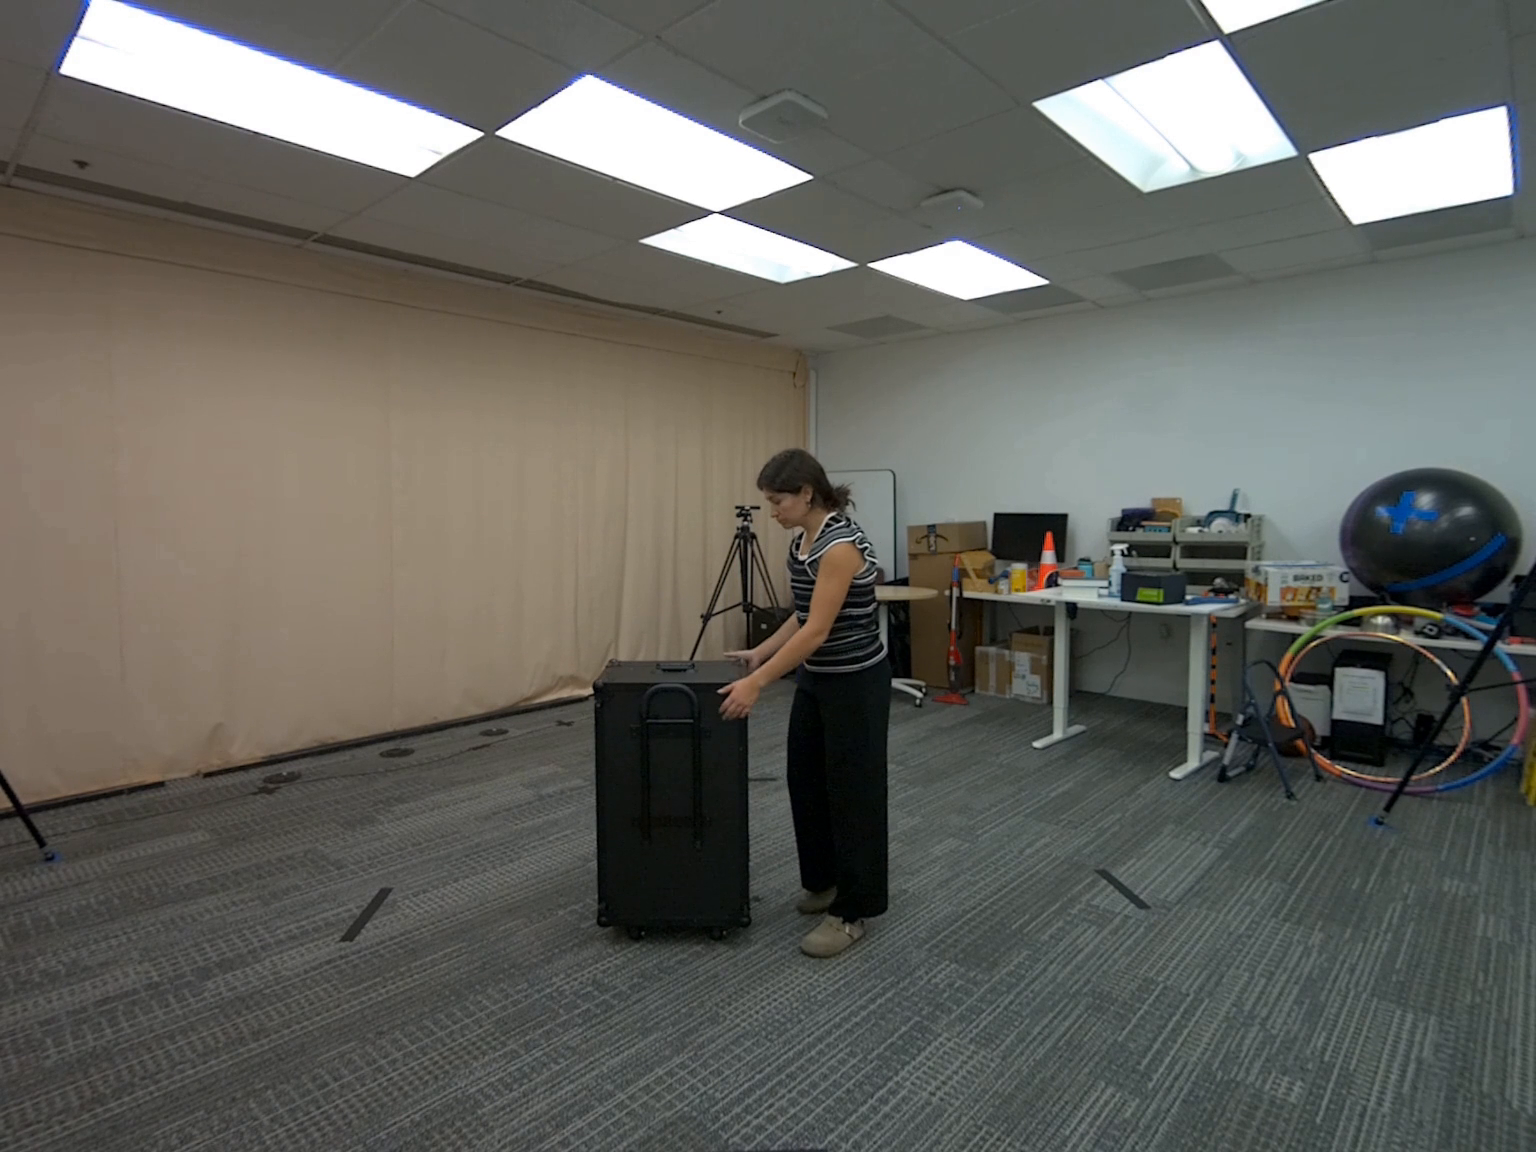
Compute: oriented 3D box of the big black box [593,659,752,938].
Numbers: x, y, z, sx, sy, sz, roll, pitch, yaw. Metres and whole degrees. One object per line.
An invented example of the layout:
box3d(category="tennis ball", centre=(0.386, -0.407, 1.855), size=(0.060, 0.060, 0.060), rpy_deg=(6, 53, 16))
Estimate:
box3d(category="big black box", centre=(-0.302, 0.747, 2.795), size=(0.522, 0.859, 0.396), rpy_deg=(0, 3, 1))
